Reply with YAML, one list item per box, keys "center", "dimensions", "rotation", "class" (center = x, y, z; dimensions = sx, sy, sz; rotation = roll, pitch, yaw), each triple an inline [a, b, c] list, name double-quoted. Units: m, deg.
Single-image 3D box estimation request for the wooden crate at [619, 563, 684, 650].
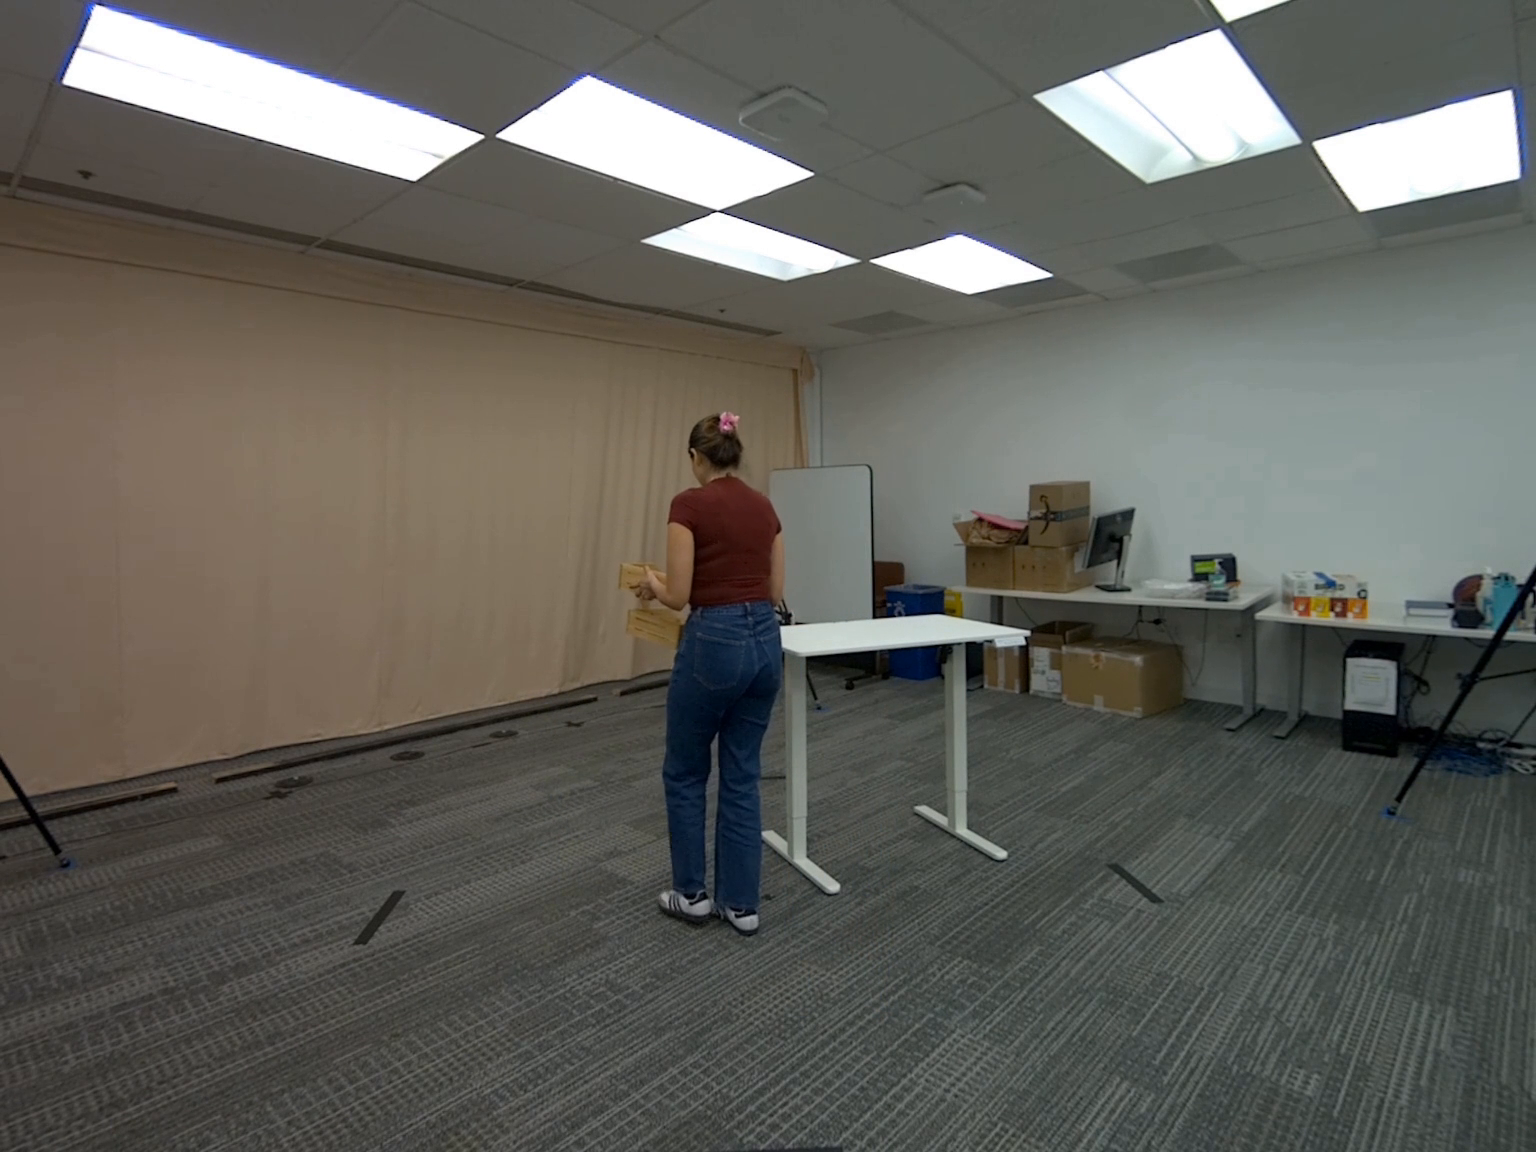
- center: [-0.332, 0.103, 3.046]
  dimensions: [0.336, 0.272, 0.292]
  rotation: [11, 8, 44]
  class: "wooden crate"
